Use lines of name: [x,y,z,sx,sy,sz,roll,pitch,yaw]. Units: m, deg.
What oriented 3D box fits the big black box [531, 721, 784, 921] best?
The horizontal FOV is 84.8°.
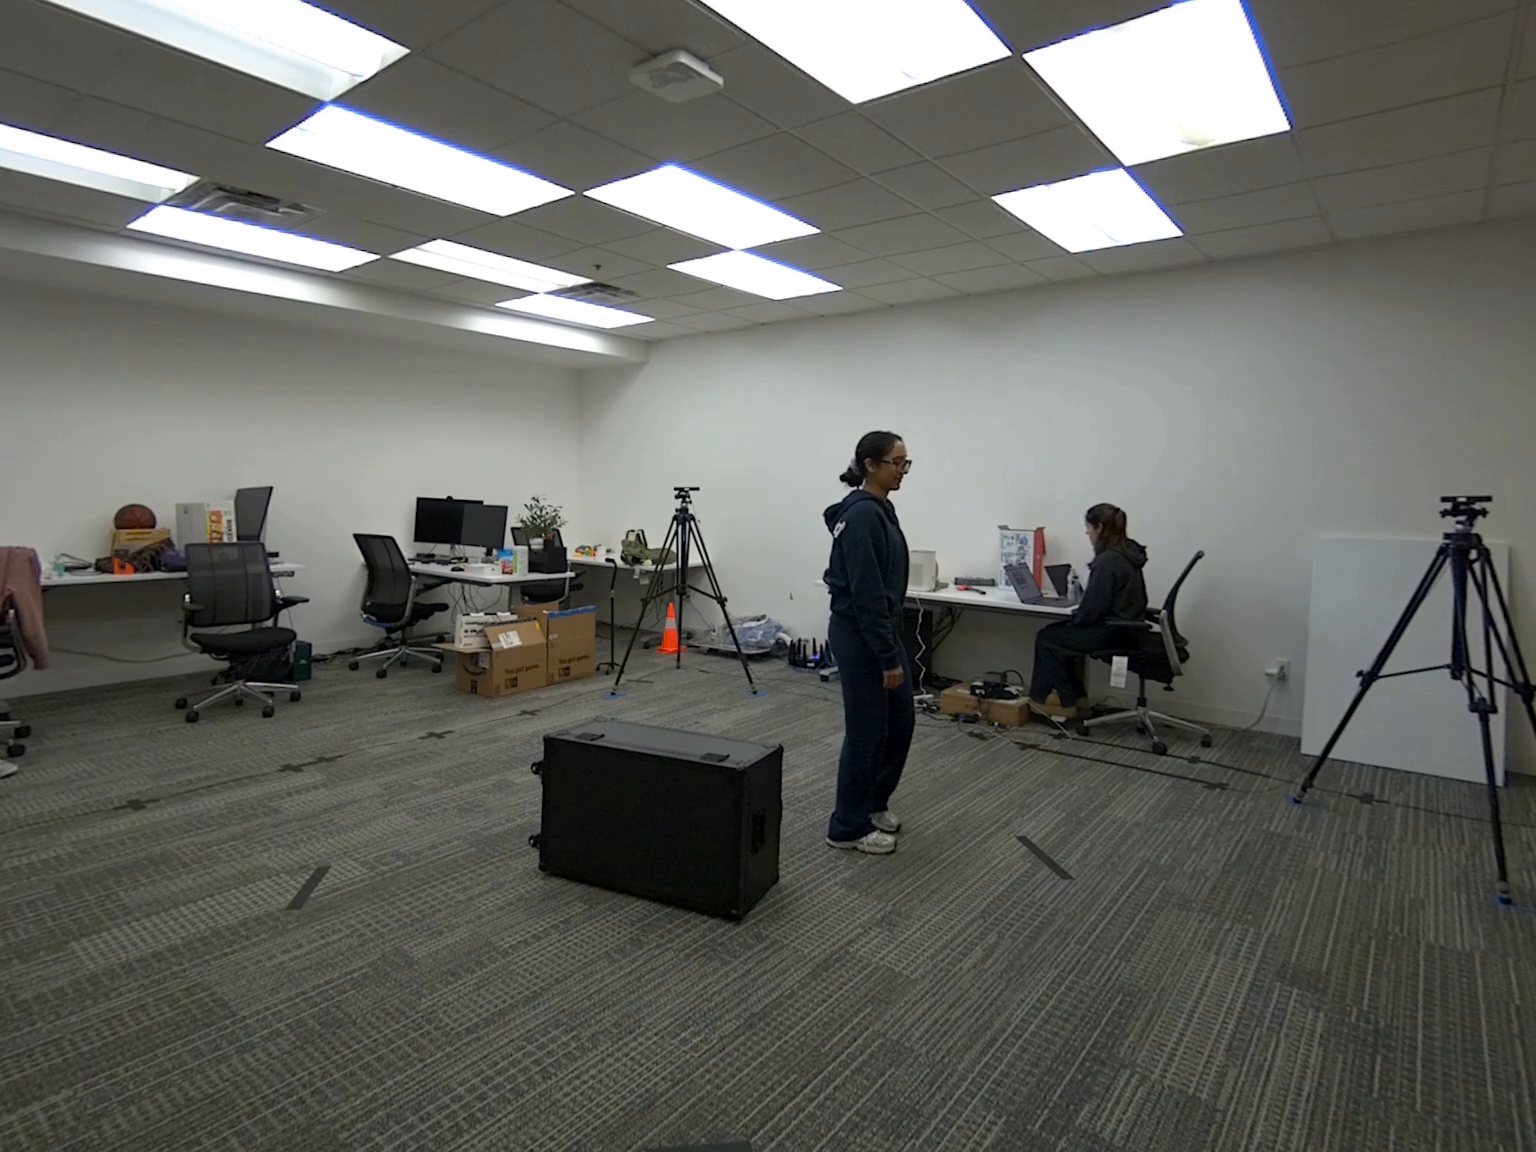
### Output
big black box: [-0.414,0.811,3.048,0.883,0.521,0.387,4,1,24]
